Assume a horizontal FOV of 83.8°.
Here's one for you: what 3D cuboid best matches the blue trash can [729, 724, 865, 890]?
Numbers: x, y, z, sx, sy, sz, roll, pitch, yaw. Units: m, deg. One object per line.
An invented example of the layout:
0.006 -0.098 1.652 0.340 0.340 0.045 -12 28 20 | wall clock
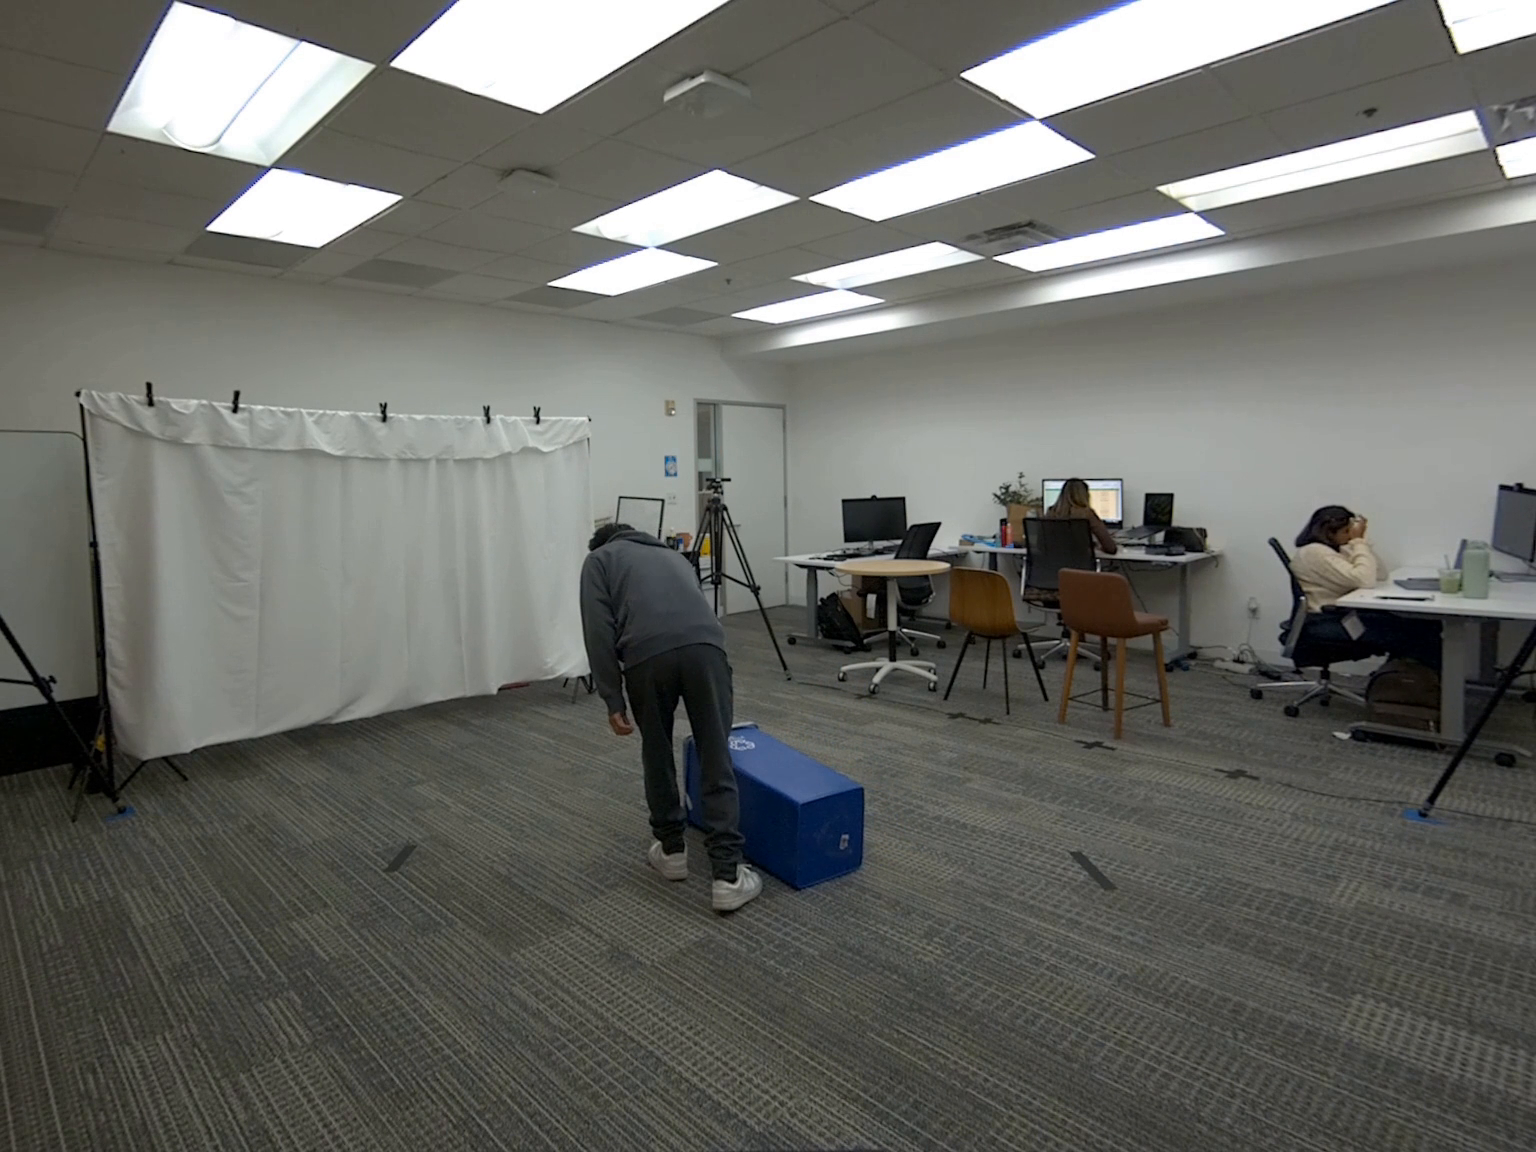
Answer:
0.016 0.853 3.247 0.364 0.376 0.737 -4 10 -35 | blue trash can
